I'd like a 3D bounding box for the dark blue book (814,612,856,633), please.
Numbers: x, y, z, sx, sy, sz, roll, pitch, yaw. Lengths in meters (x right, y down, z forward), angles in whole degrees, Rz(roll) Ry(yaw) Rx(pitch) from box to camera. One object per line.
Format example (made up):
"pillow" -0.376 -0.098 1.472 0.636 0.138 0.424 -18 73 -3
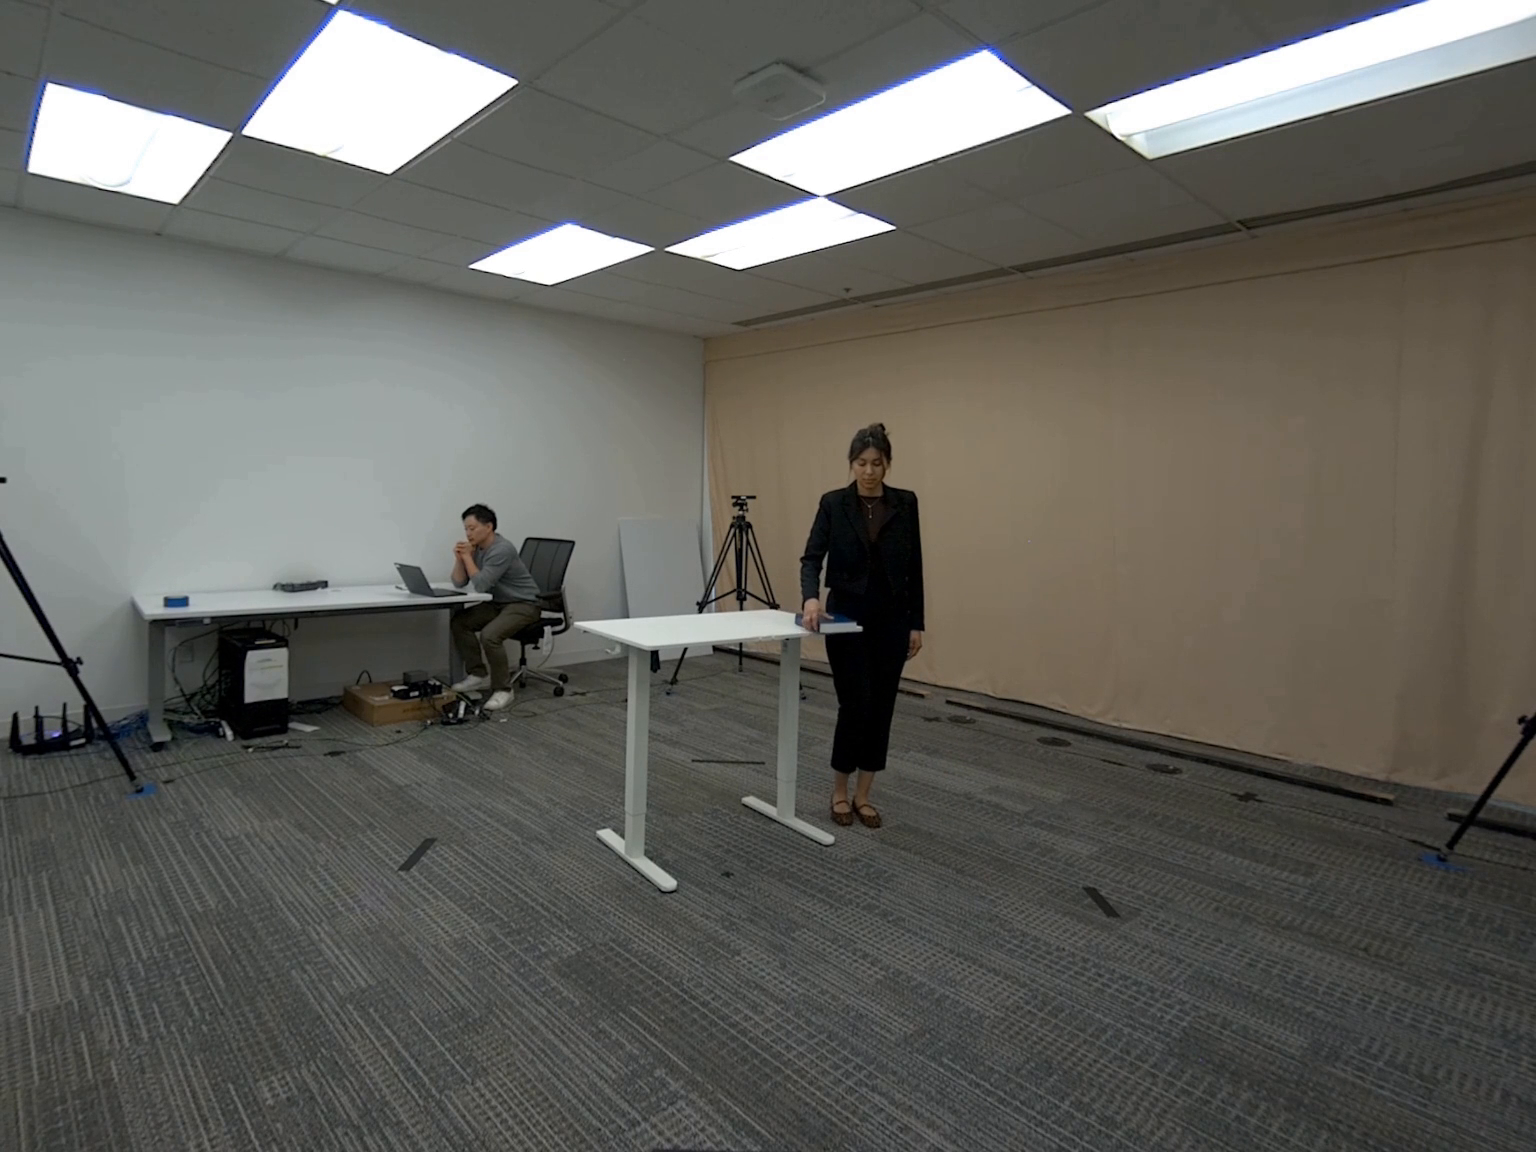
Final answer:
"dark blue book" 0.223 0.189 3.355 0.161 0.045 0.249 0 6 -18
